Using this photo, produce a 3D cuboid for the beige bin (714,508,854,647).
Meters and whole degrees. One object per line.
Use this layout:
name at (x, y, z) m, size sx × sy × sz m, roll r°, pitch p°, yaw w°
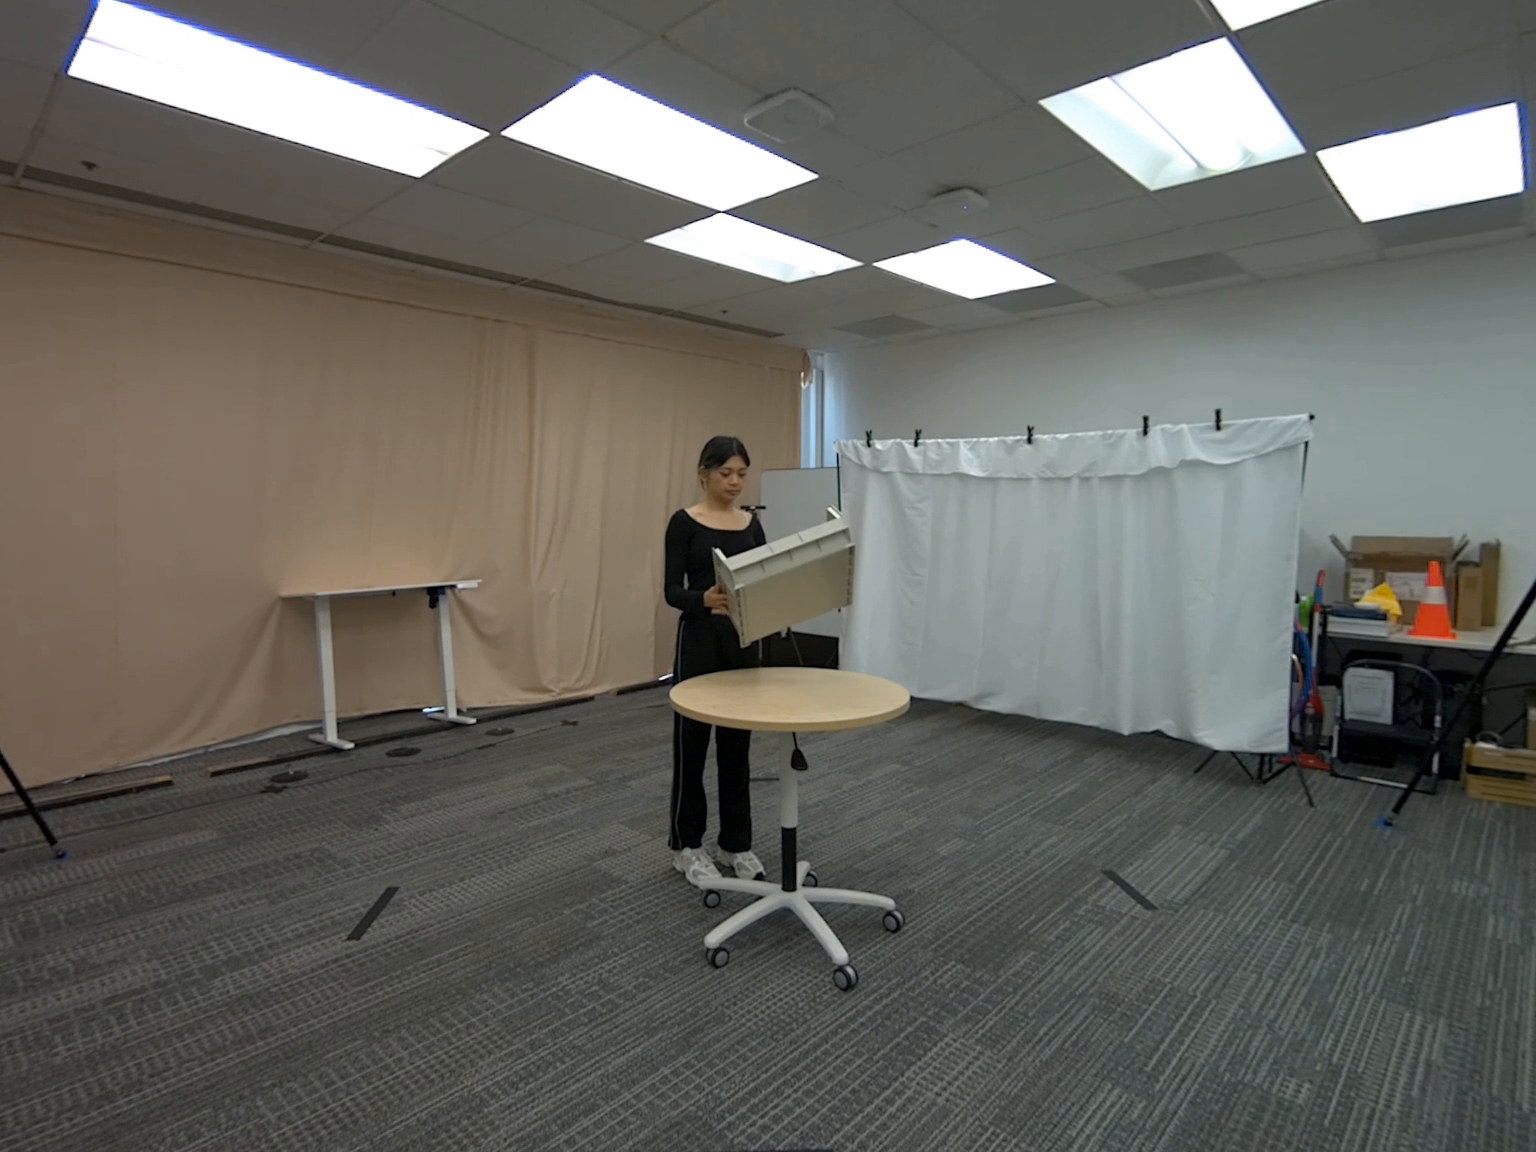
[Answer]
beige bin at (0.060, -0.002, 2.763) m, size 0.418 × 0.369 × 0.195 m, roll -20°, pitch 51°, yaw -12°
